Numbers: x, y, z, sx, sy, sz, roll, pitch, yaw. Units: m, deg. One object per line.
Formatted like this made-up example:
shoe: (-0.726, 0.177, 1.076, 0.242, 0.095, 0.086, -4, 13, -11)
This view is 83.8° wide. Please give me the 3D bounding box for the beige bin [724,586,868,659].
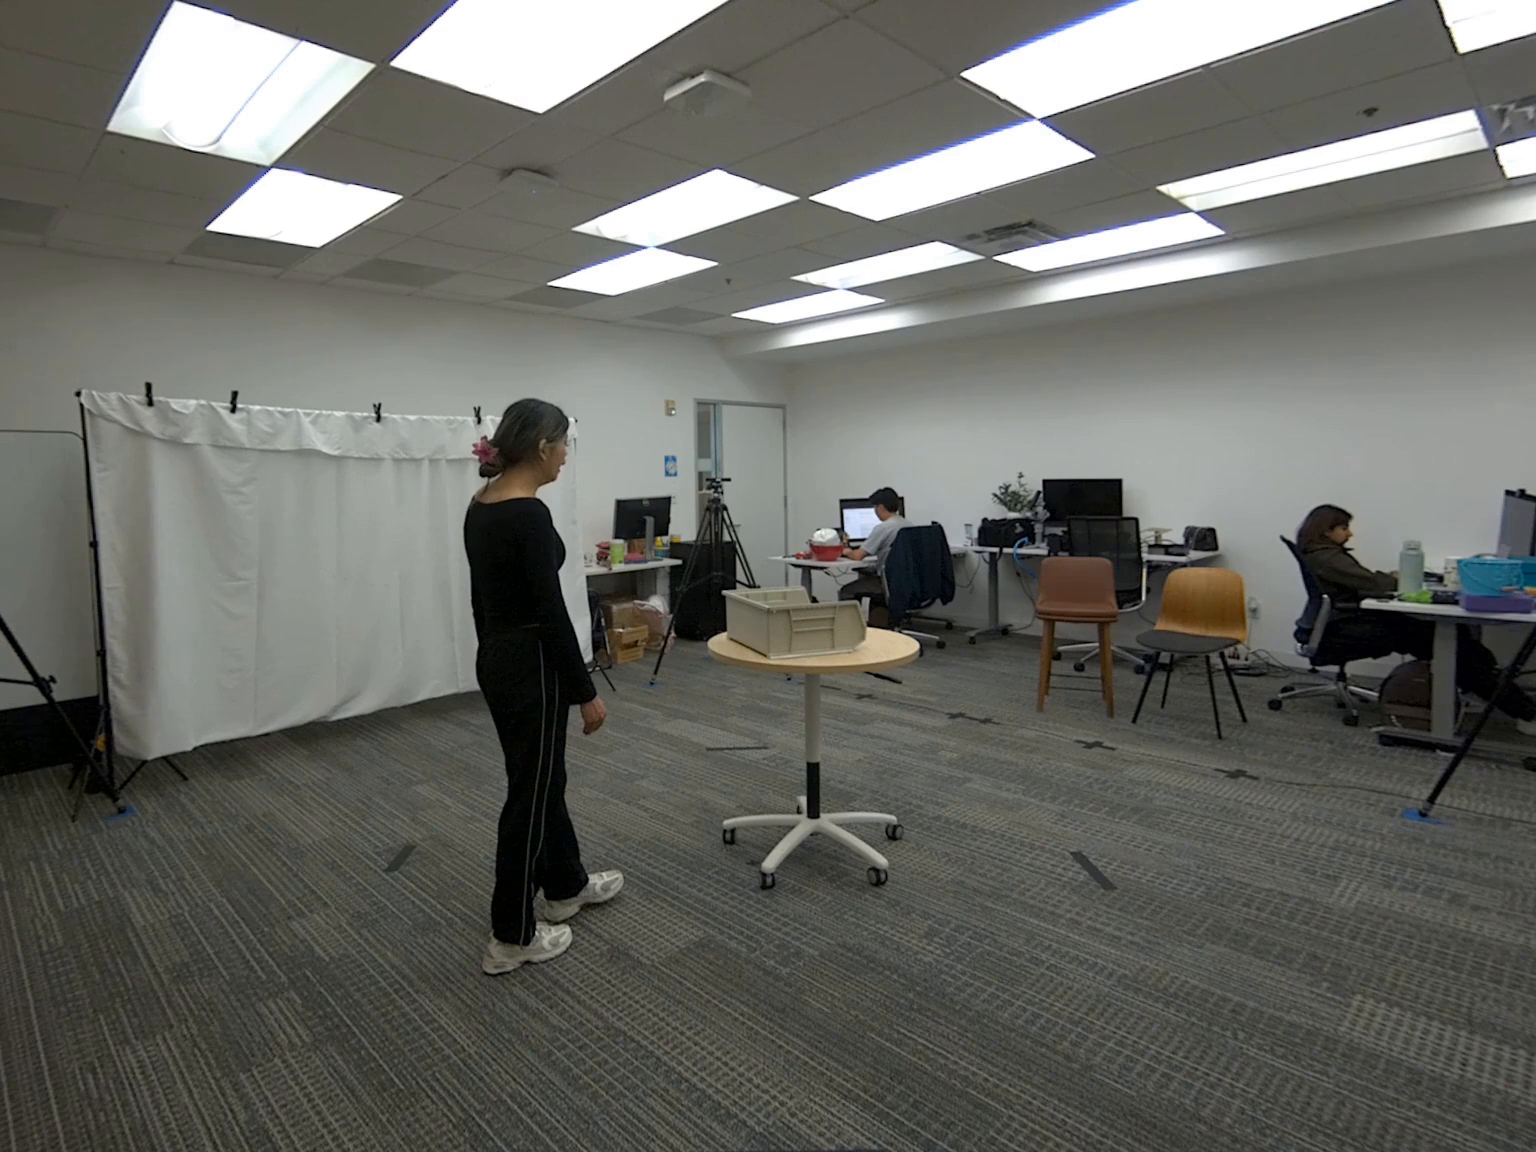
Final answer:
beige bin: (0.090, 0.159, 3.077, 0.370, 0.188, 0.433, -4, 7, -23)
